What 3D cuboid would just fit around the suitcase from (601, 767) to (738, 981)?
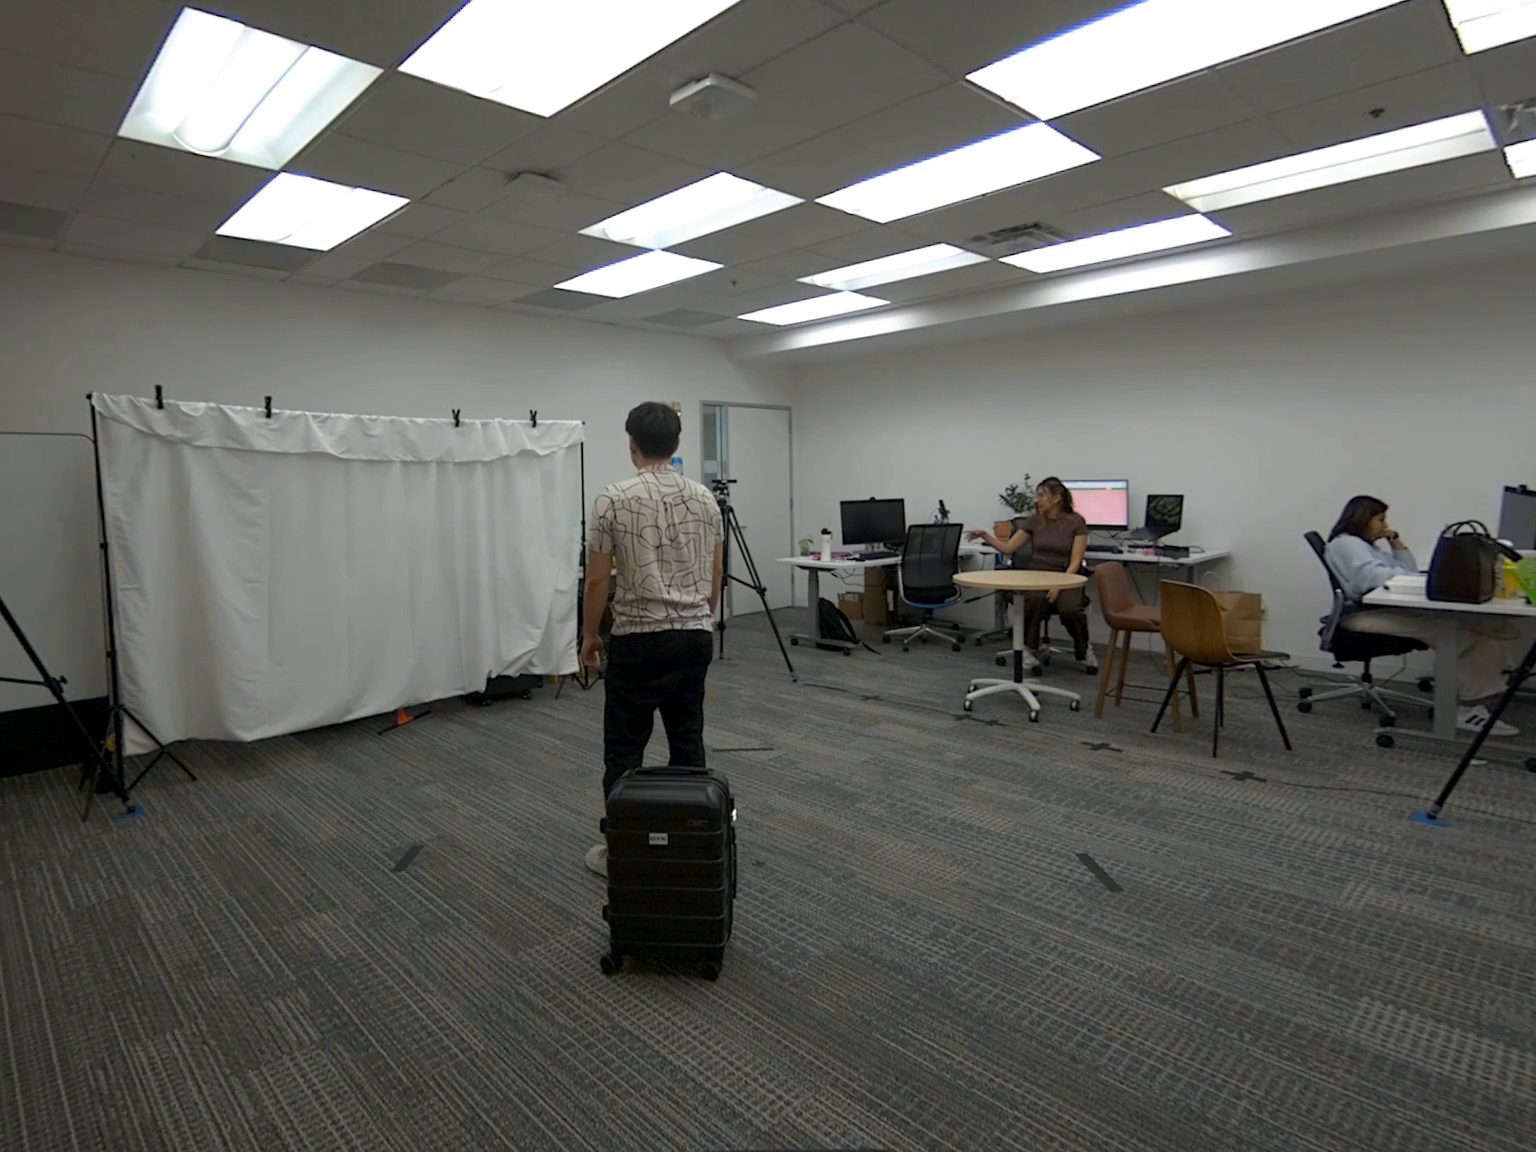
[{"bbox_3d":[-0.281,0.848,2.507,0.378,0.547,0.247,1,5,7],"label":"suitcase"}]
